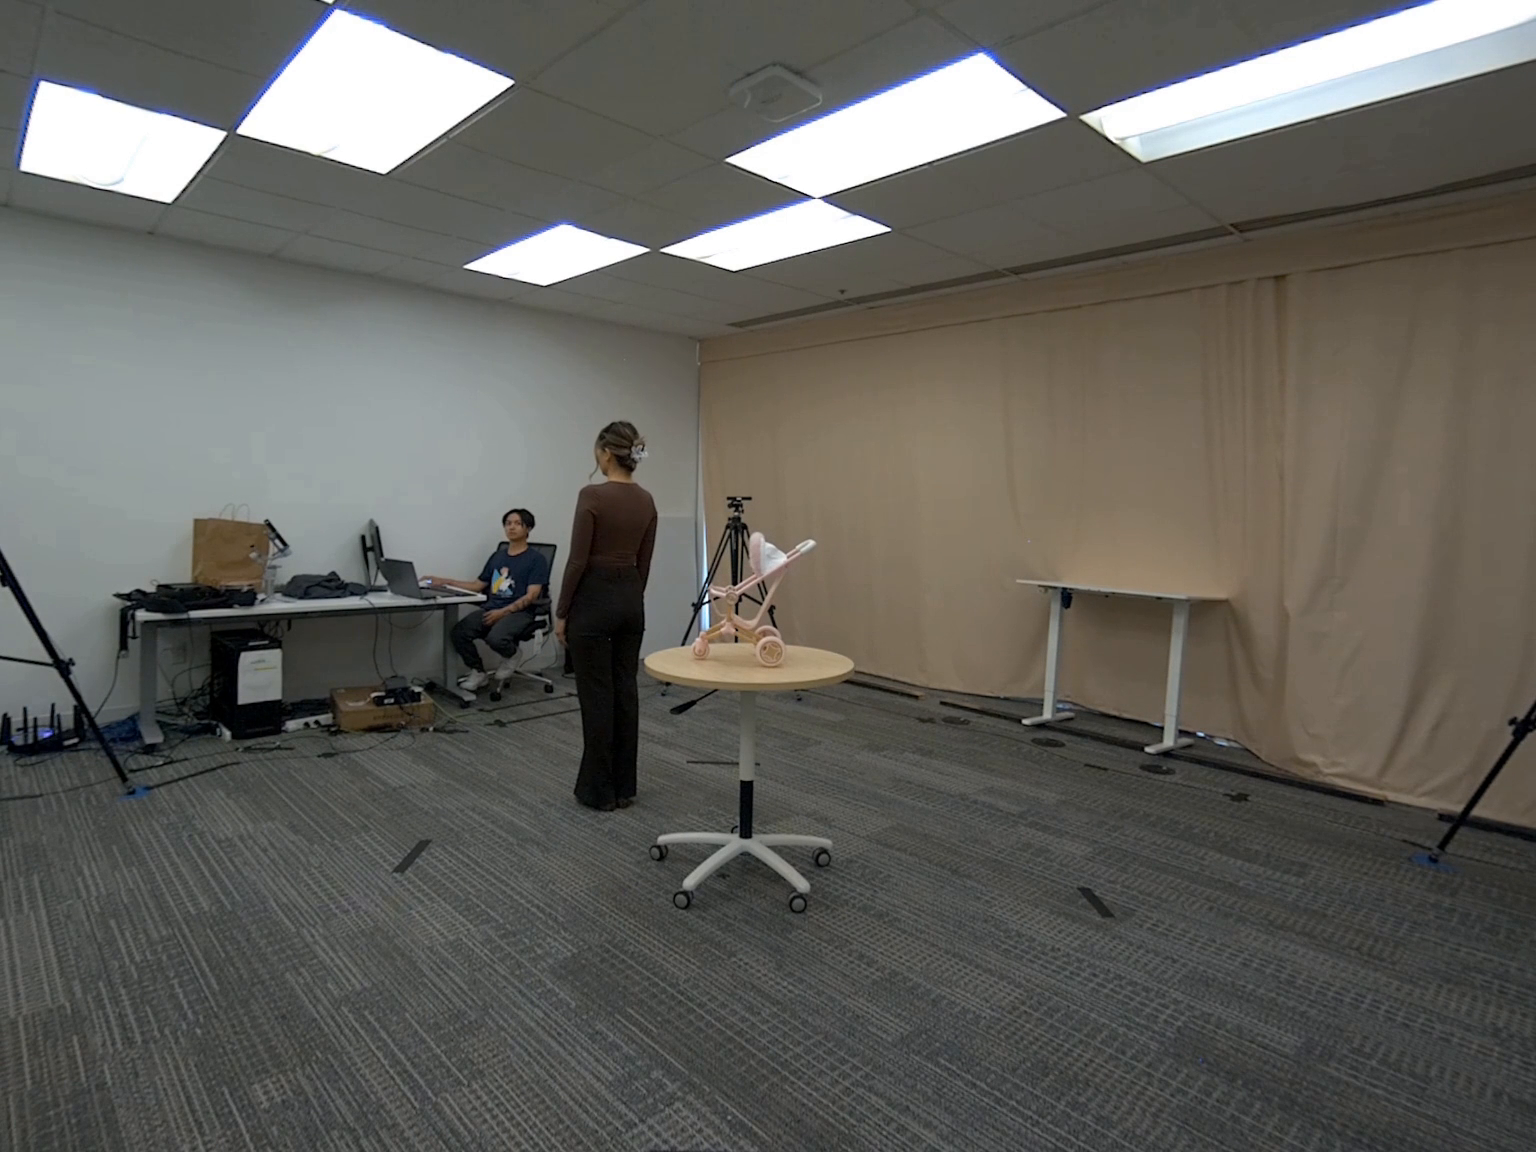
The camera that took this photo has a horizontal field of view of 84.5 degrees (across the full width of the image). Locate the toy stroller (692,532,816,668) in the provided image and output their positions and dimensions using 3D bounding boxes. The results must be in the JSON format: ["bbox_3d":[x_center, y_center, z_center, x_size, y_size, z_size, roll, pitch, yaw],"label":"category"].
[{"bbox_3d":[-0.070,0.086,3.082,0.342,0.534,0.281,15,3,1],"label":"toy stroller"}]
